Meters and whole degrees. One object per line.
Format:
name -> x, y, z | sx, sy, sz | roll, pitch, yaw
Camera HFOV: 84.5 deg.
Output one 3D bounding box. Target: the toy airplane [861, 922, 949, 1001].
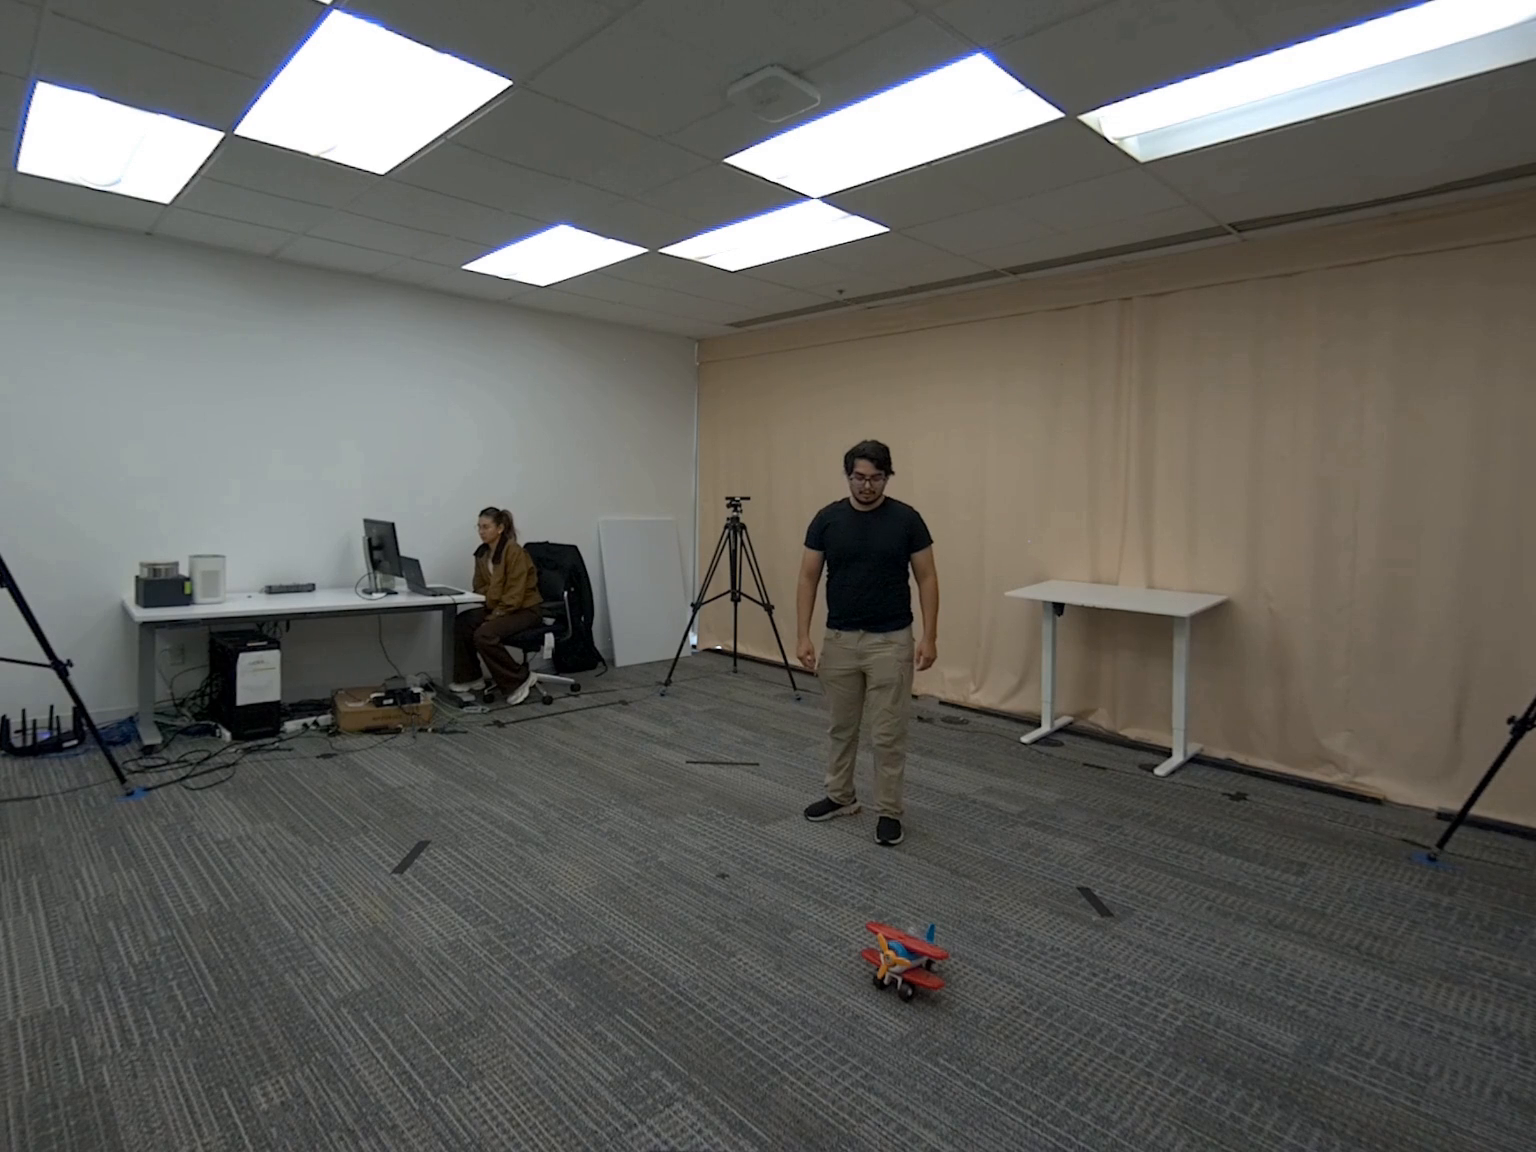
toy airplane -> 0.393, 1.102, 2.458 | 0.253, 0.156, 0.258 | 2, 6, 11
